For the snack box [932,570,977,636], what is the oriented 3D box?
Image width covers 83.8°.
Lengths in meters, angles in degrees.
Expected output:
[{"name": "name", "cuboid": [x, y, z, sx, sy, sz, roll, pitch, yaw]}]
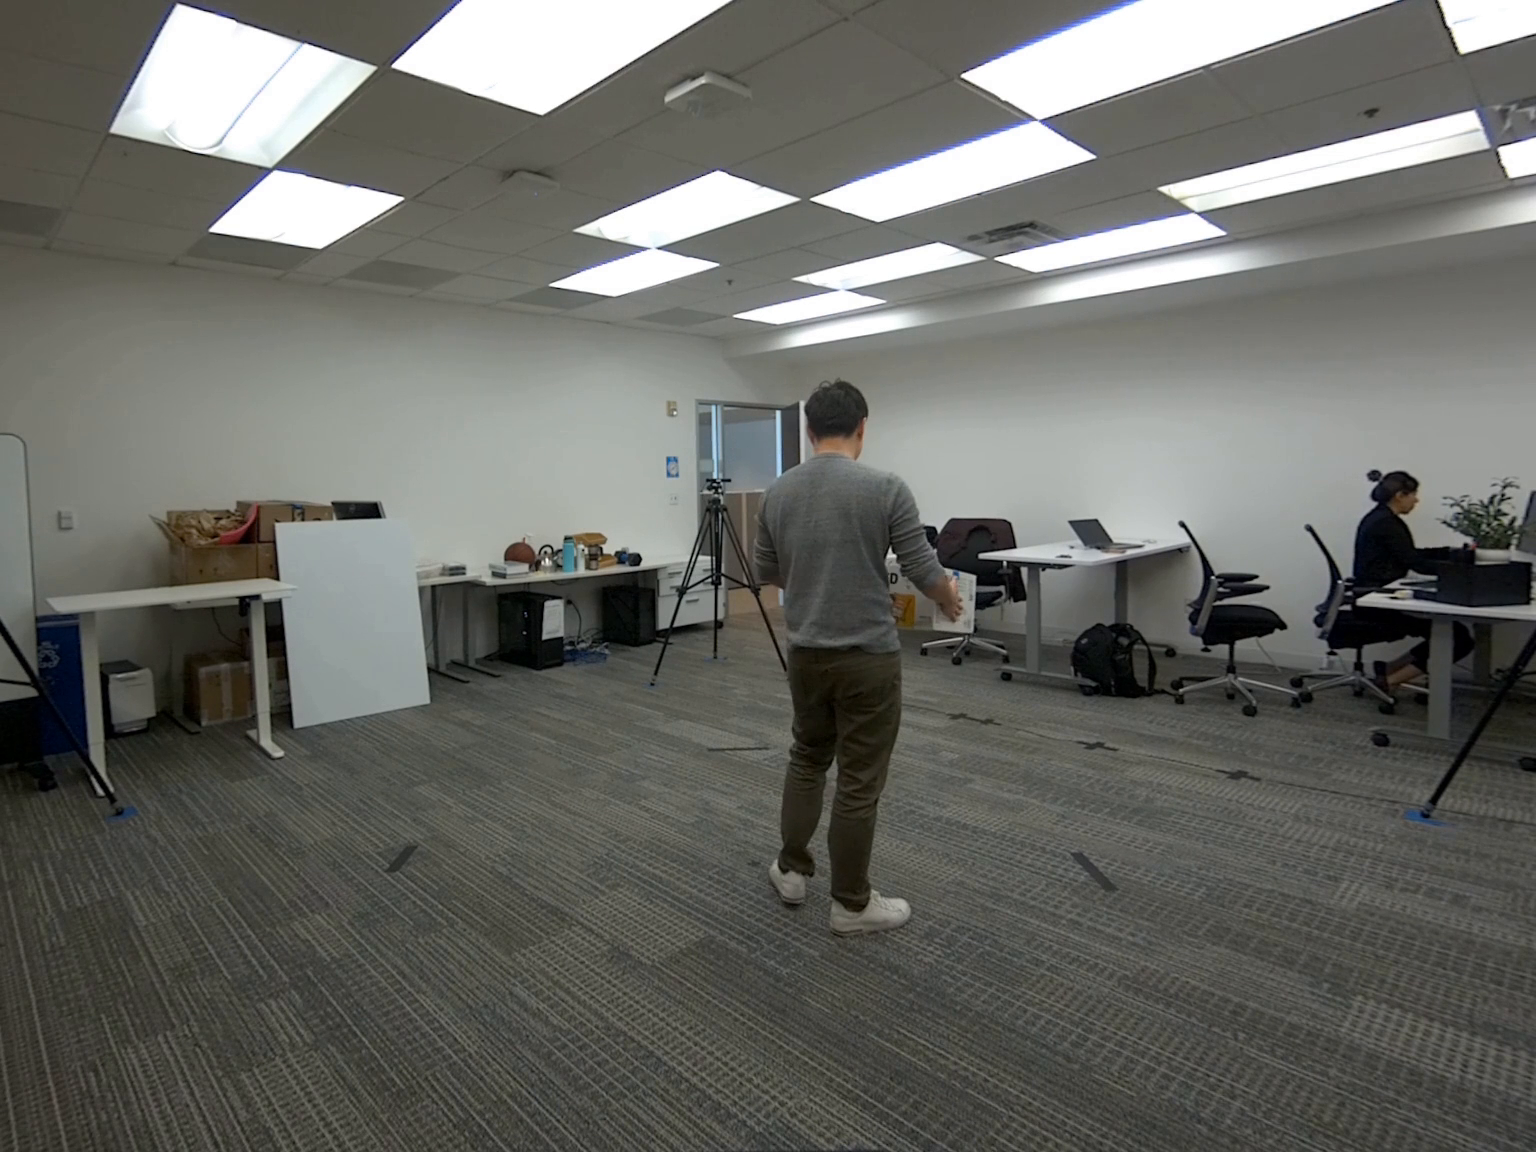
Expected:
[{"name": "snack box", "cuboid": [0.448, 0.076, 2.920, 0.417, 0.206, 0.329, 2, -4, 36]}]
